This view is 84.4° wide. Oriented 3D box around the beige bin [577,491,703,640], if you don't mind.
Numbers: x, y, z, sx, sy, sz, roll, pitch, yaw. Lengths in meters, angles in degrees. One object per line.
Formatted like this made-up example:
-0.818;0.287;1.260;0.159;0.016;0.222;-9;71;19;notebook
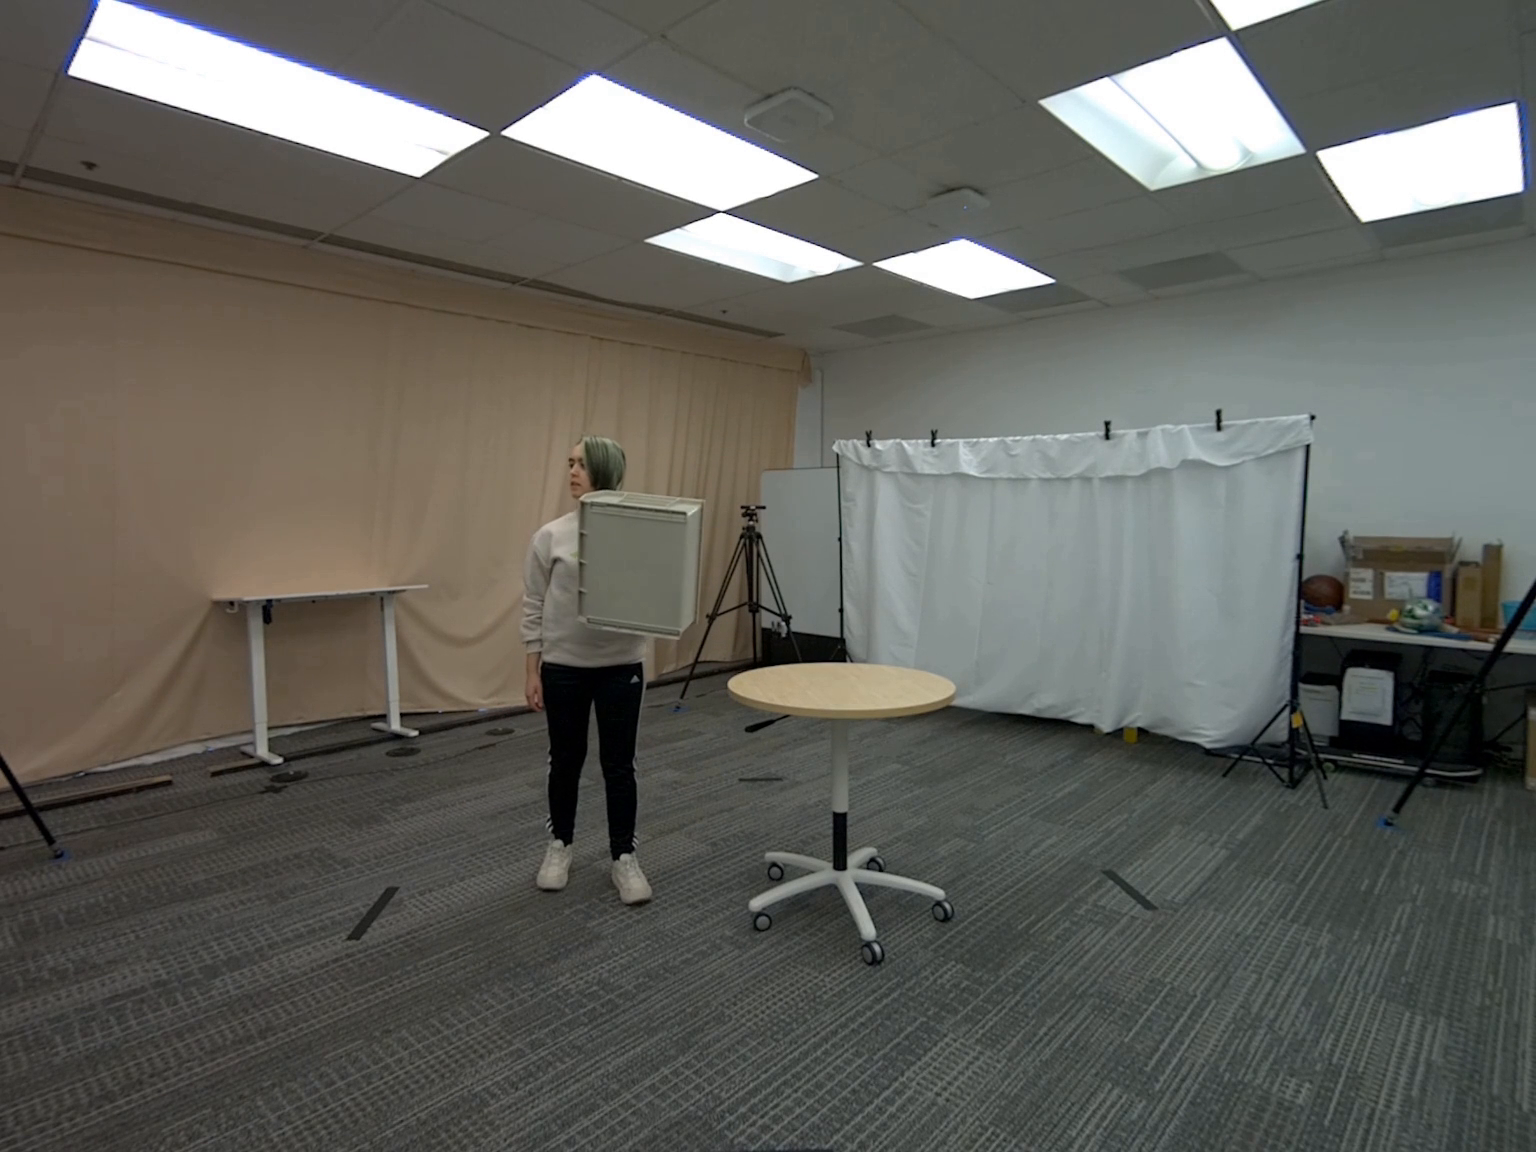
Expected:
-0.413;-0.038;2.704;0.381;0.419;0.188;5;13;8;beige bin
